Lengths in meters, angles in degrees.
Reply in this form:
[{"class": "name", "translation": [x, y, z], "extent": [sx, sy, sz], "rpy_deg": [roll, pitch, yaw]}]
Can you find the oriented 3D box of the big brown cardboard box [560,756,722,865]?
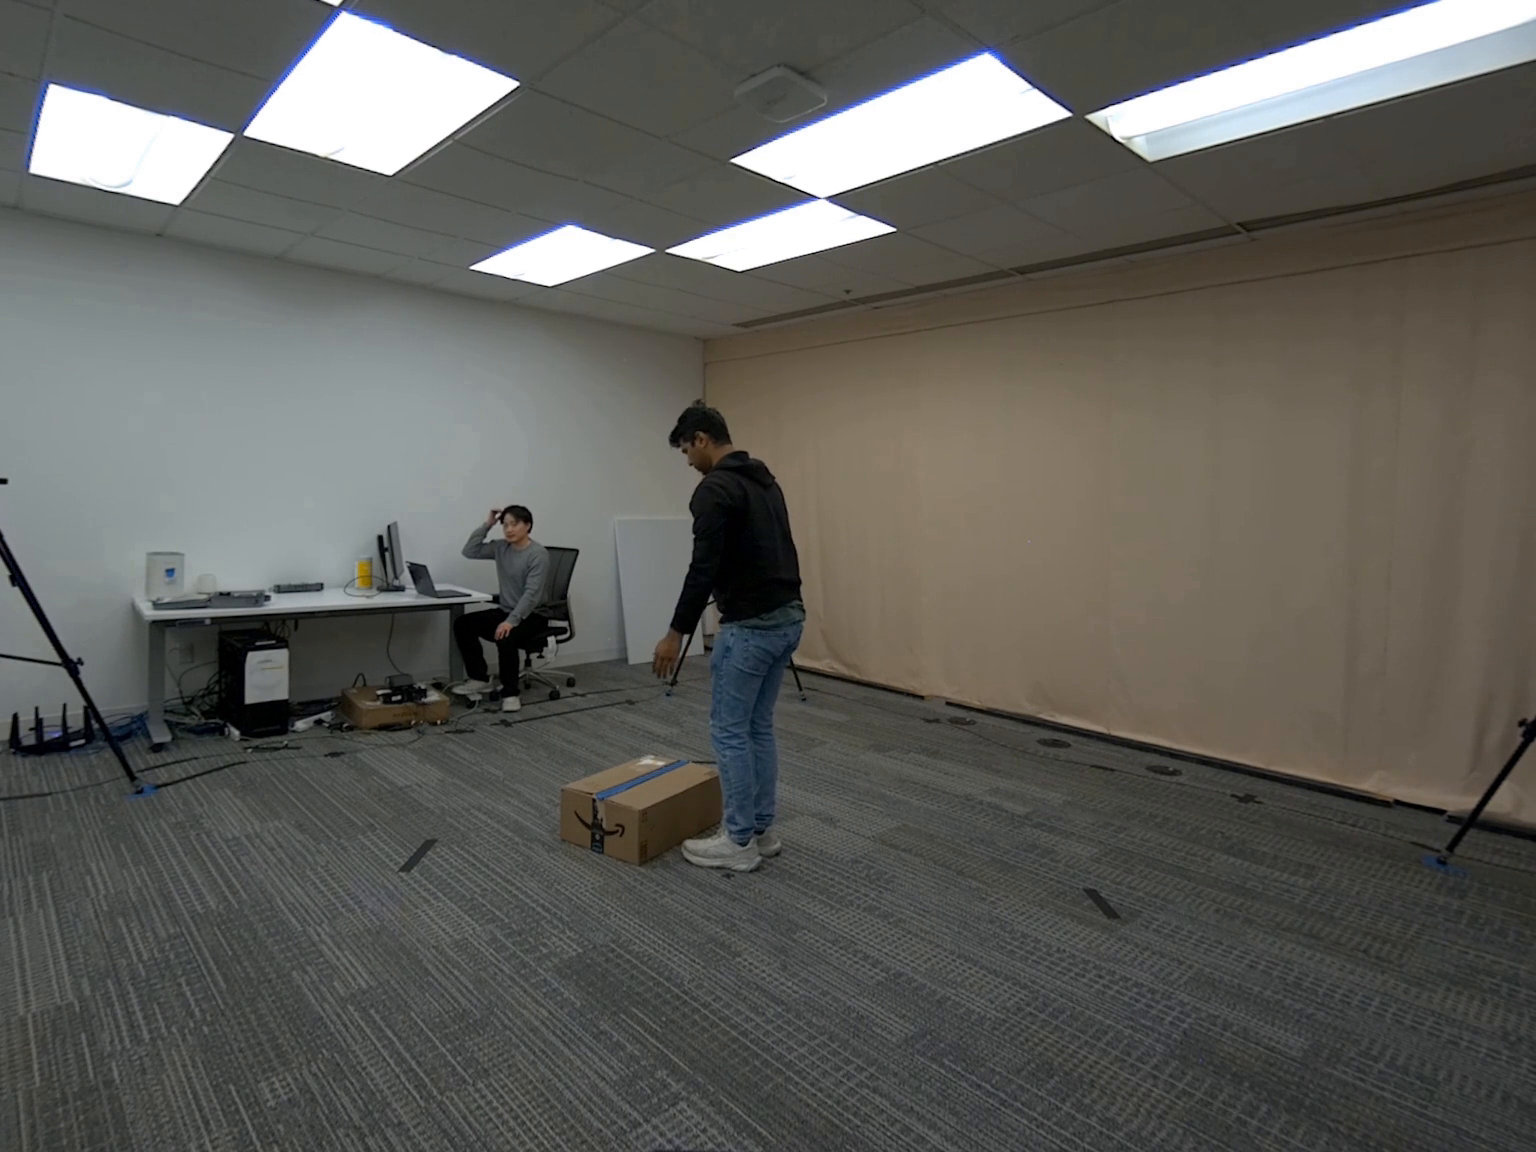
[{"class": "big brown cardboard box", "translation": [-0.516, 0.949, 3.511], "extent": [0.427, 0.232, 0.578], "rpy_deg": [4, 6, 31]}]
